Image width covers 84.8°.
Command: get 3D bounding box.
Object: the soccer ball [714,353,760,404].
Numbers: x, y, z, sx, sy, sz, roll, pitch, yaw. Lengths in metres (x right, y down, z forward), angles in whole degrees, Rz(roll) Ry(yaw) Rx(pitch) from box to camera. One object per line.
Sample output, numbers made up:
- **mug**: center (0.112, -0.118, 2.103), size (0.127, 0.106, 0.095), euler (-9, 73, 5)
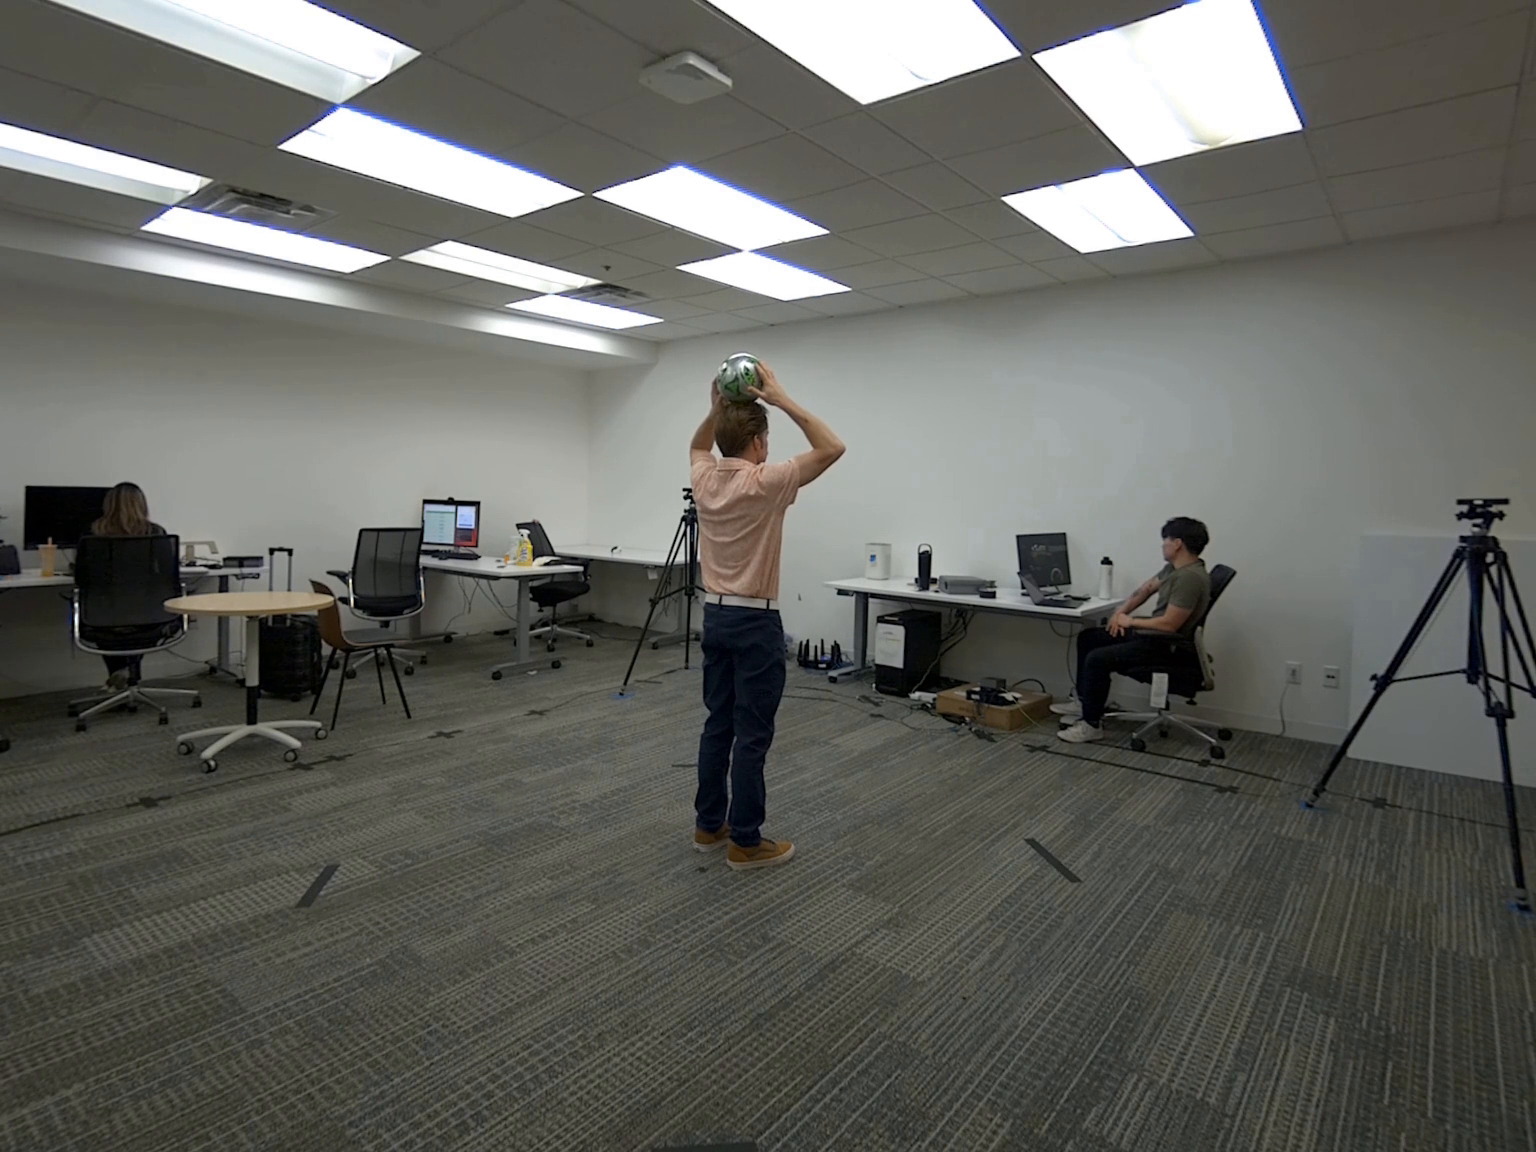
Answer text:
- **soccer ball**: center (-0.109, -0.729, 3.164), size (0.187, 0.187, 0.188), euler (1, 4, -2)
